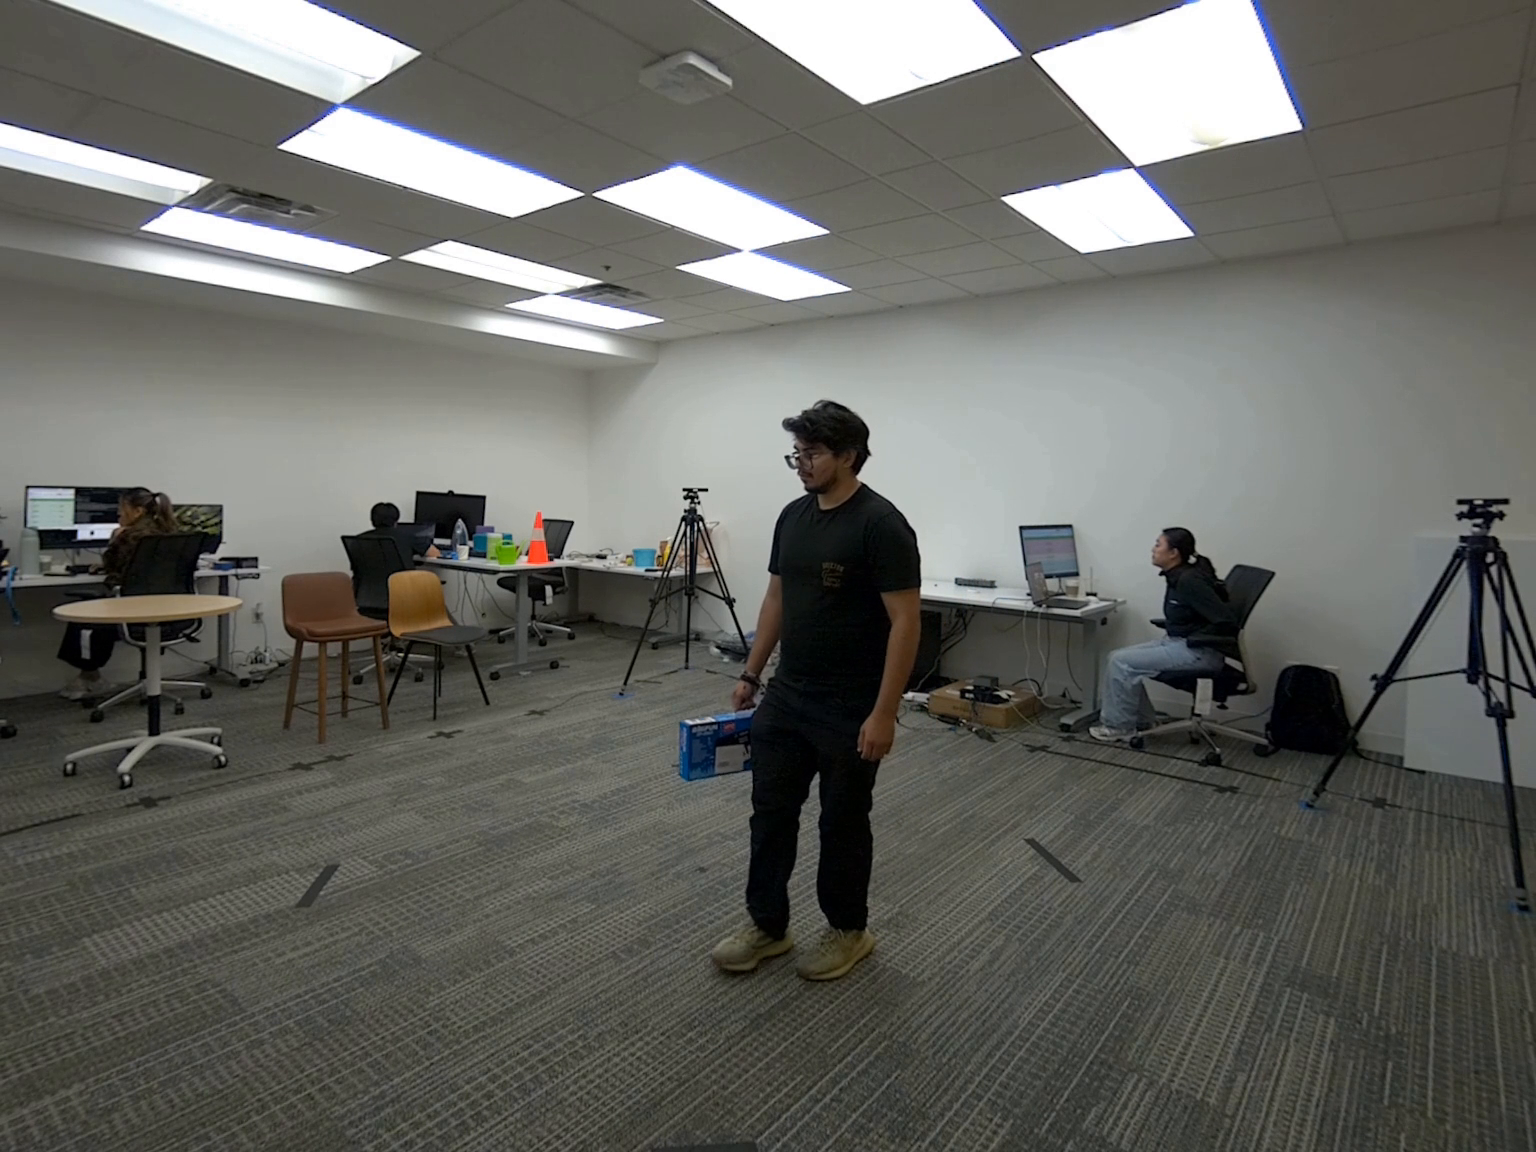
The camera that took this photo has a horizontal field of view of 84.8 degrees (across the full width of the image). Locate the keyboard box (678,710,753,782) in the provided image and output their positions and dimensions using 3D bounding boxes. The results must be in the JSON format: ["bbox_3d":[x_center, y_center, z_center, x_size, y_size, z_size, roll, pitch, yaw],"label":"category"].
[{"bbox_3d":[-0.079,0.517,2.663,0.425,0.175,0.061,-2,4,-31],"label":"keyboard box"}]
